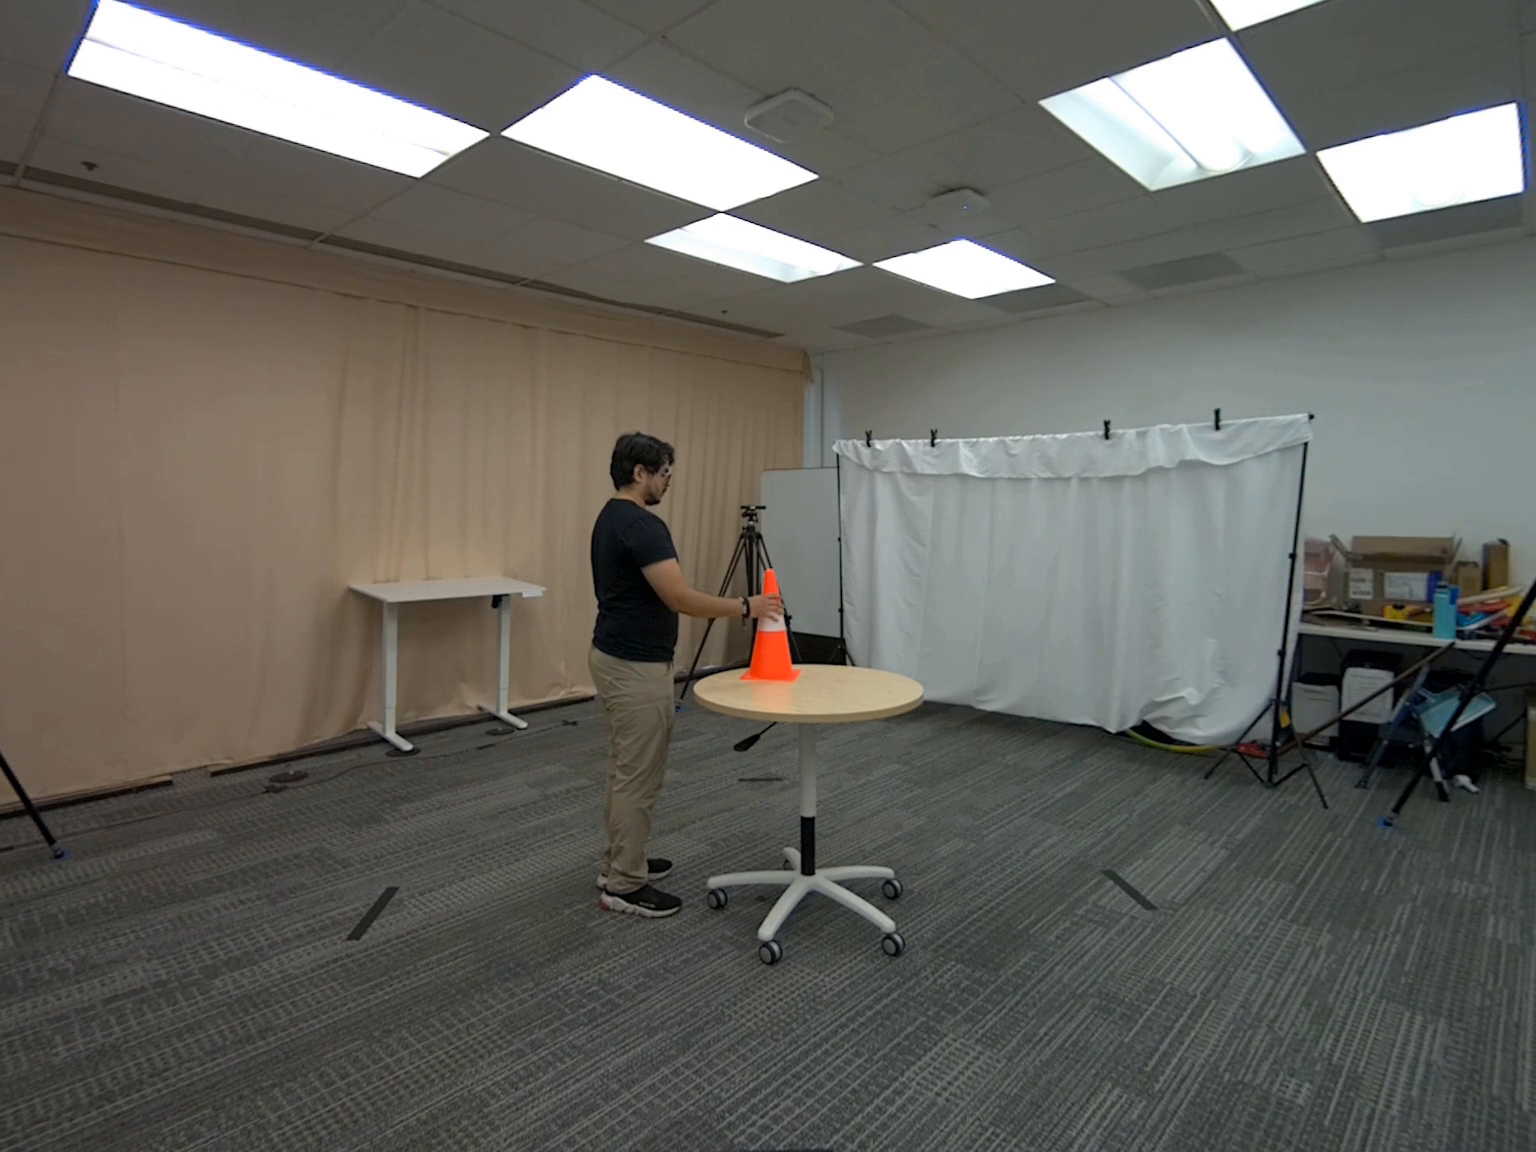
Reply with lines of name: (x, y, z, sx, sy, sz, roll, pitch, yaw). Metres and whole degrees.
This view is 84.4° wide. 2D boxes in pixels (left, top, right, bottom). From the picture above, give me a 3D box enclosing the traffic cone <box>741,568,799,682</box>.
traffic cone: (0.010, 0.171, 3.024, 0.203, 0.384, 0.205, 0, -2, -8)
